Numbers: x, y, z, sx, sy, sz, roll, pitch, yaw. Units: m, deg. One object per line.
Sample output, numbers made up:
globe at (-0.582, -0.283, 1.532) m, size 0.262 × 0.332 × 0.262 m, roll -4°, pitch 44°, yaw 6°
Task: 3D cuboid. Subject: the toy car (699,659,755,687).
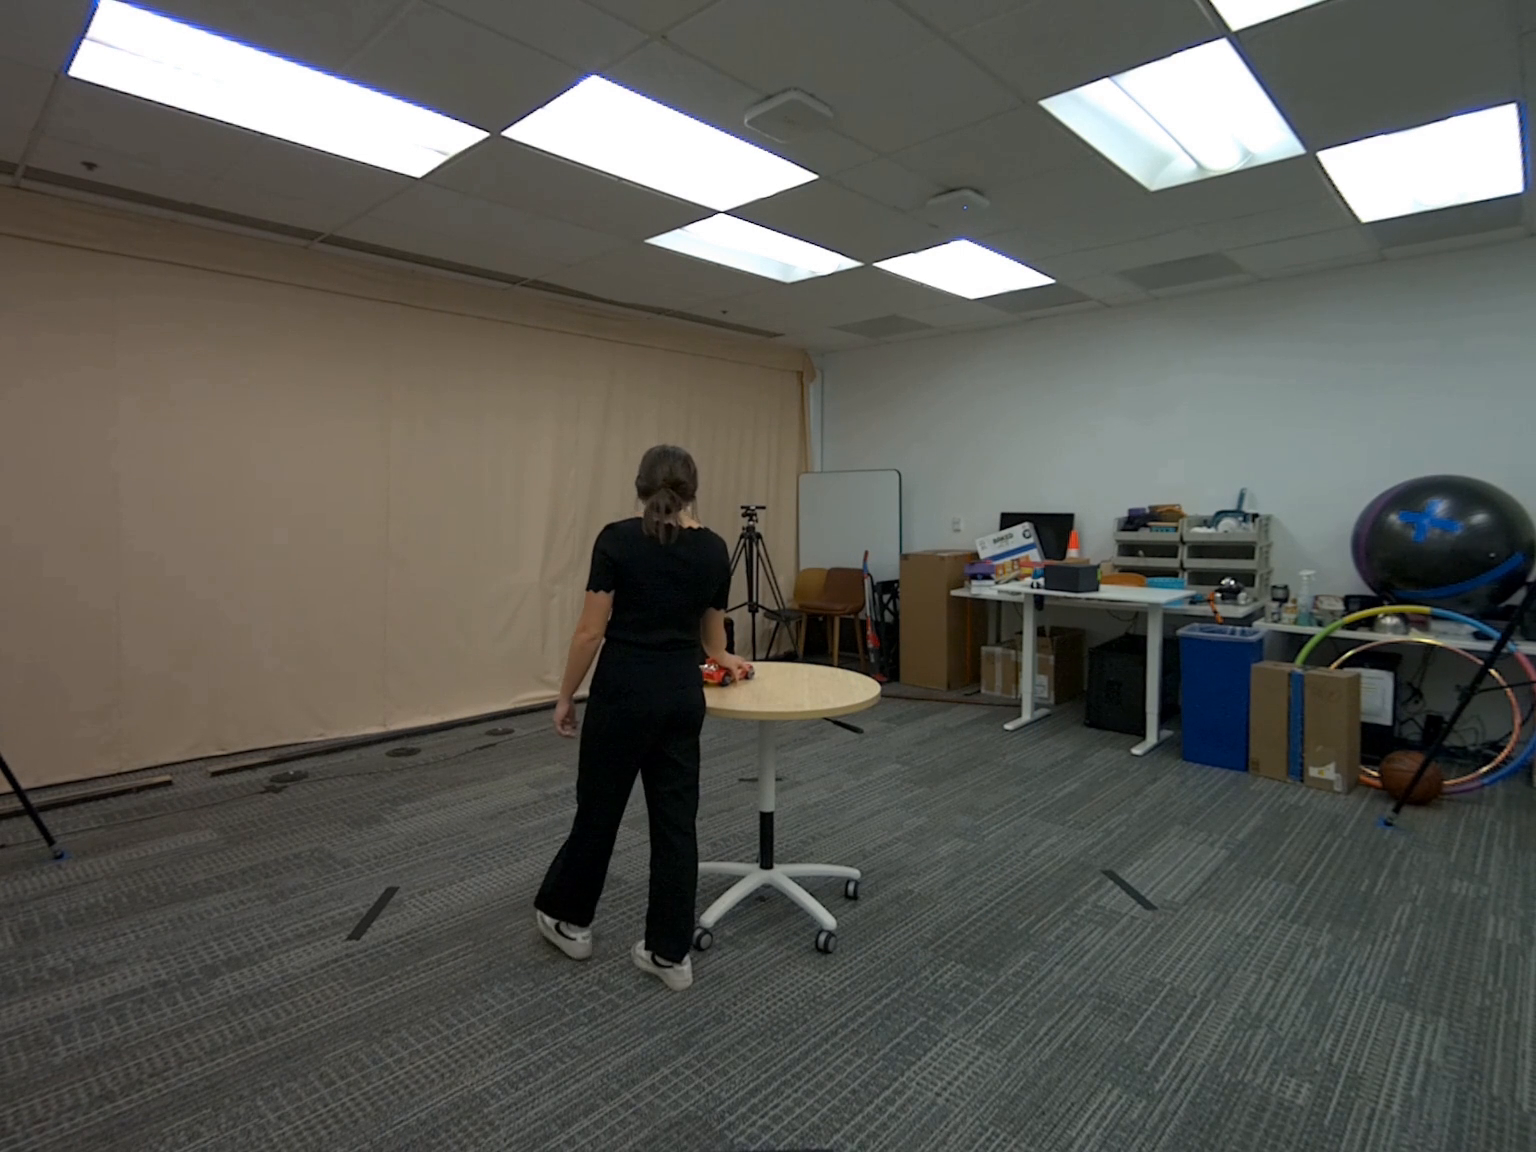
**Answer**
toy car at (-0.156, 0.335, 2.899) m, size 0.134 × 0.083 × 0.246 m, roll 5°, pitch -5°, yaw 35°
